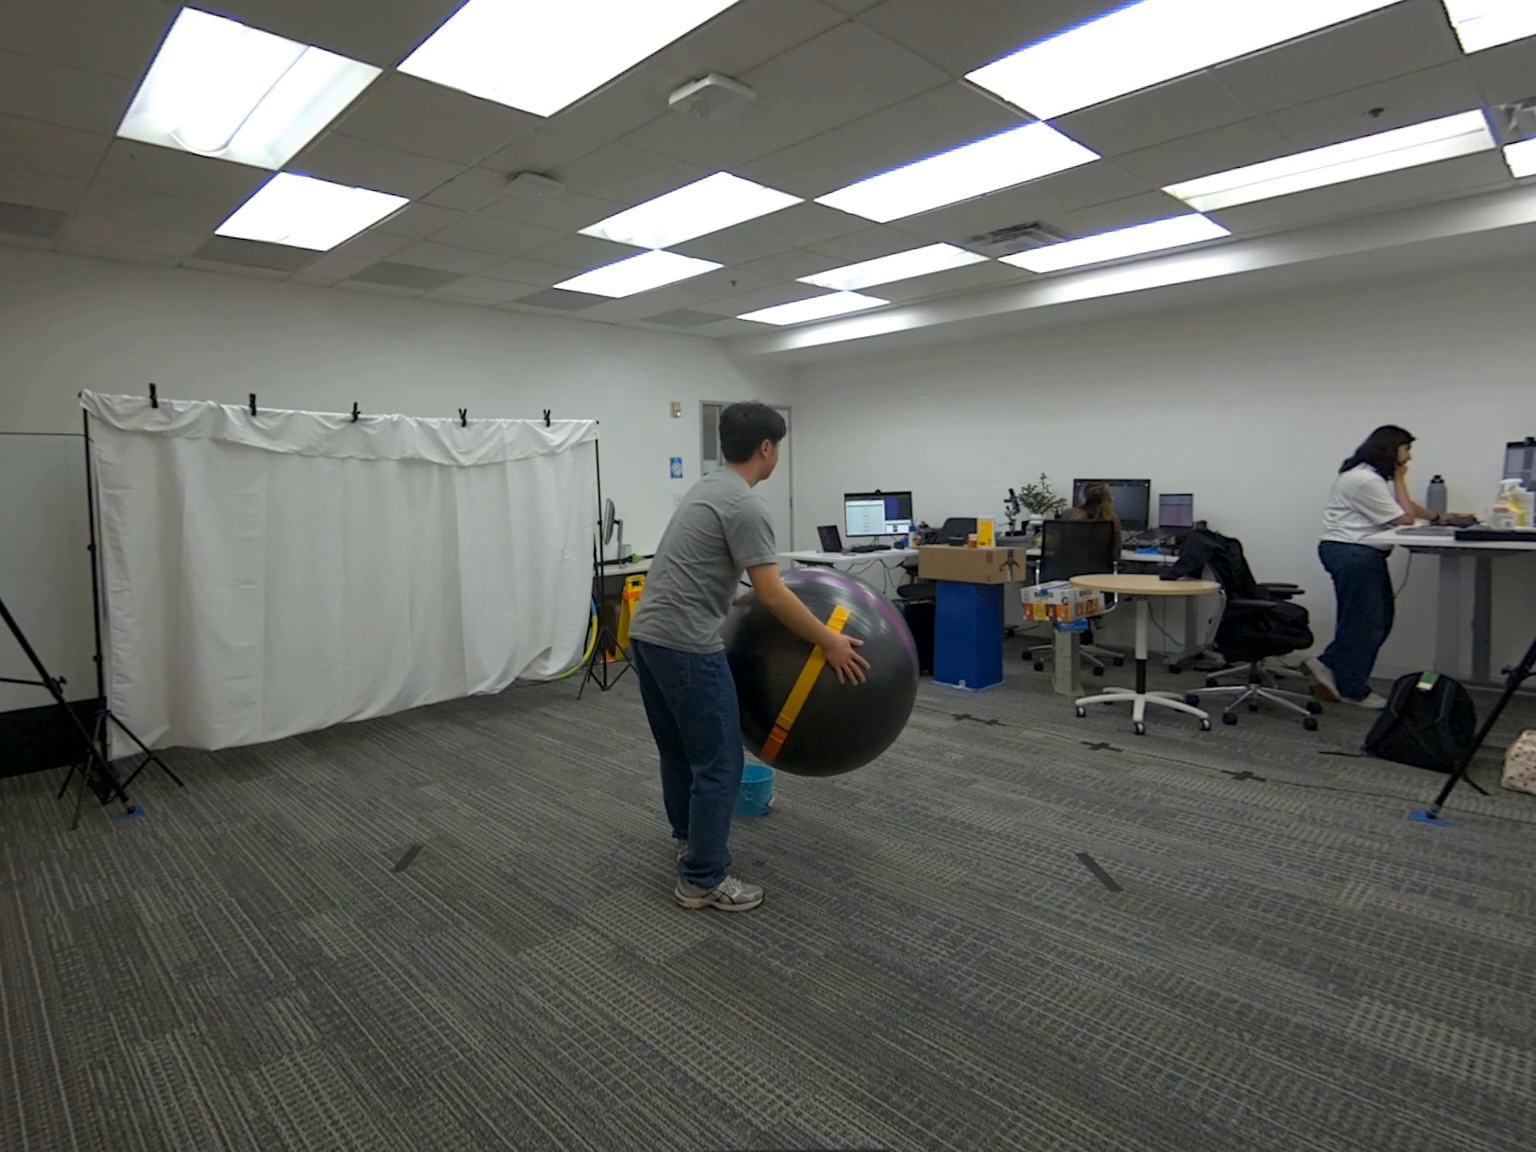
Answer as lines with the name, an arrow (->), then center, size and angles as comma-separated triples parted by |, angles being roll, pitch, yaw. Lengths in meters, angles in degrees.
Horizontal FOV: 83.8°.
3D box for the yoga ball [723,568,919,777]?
yoga ball -> 0.171, 0.349, 3.154 | 0.757, 0.755, 0.762 | -1, 5, -2
